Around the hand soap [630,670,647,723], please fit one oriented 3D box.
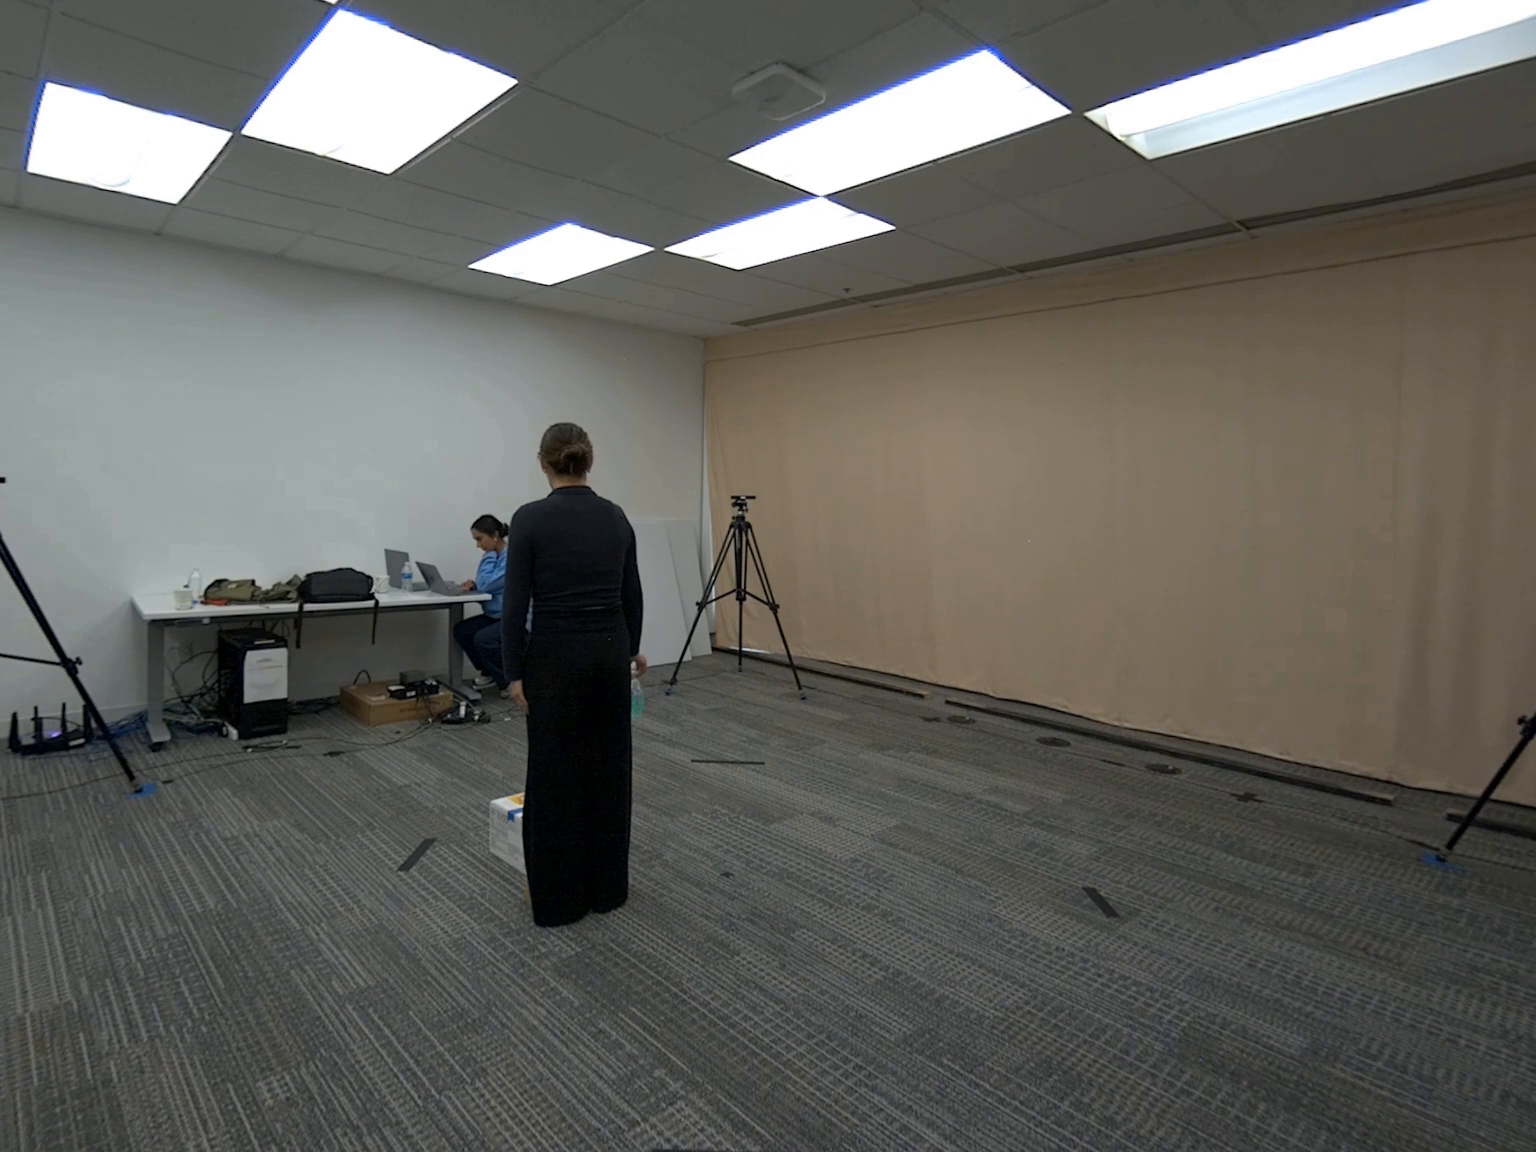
[{"bbox_3d":[-0.491,0.433,3.070,0.086,0.167,0.042,5,7,34],"label":"hand soap"}]
